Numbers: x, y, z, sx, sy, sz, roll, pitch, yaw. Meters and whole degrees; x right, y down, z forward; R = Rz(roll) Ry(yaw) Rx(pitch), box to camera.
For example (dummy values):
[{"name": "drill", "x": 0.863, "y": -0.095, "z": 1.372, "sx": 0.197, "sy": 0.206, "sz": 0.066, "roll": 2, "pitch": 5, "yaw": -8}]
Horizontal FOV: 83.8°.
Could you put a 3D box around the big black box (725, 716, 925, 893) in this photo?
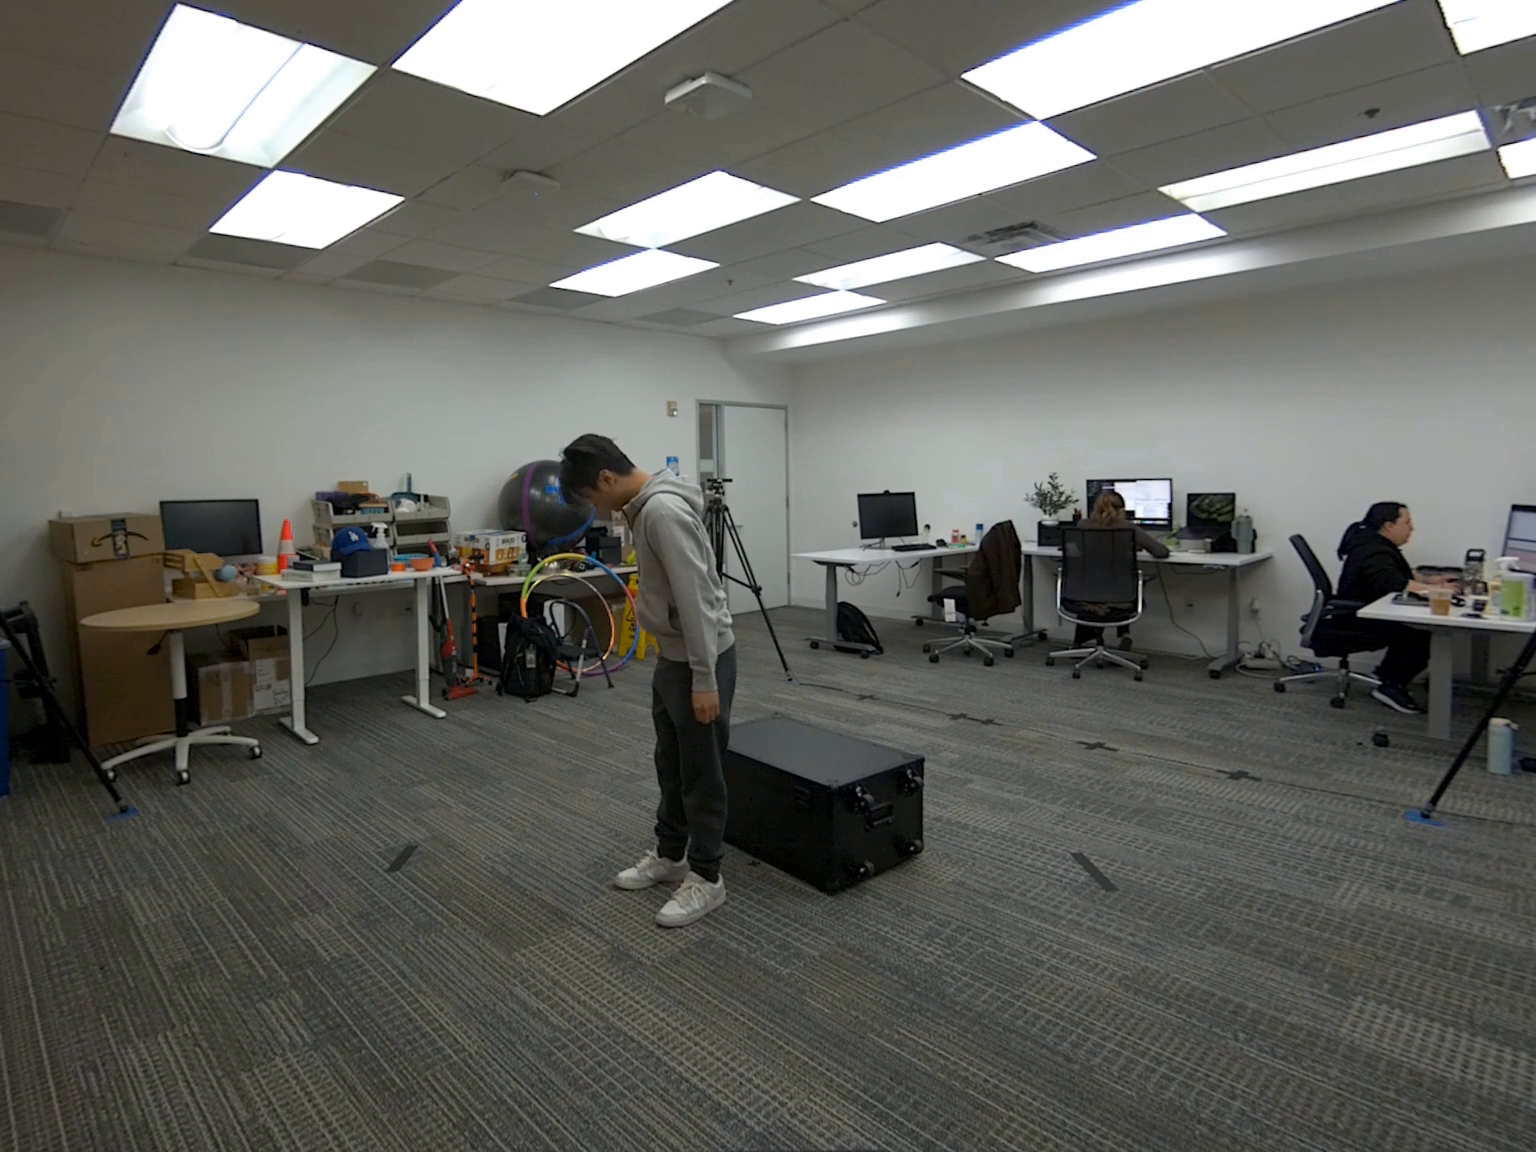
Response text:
[{"name": "big black box", "x": 0.152, "y": 0.835, "z": 3.255, "sx": 0.508, "sy": 0.394, "sz": 0.888, "roll": -6, "pitch": 8, "yaw": -41}]
